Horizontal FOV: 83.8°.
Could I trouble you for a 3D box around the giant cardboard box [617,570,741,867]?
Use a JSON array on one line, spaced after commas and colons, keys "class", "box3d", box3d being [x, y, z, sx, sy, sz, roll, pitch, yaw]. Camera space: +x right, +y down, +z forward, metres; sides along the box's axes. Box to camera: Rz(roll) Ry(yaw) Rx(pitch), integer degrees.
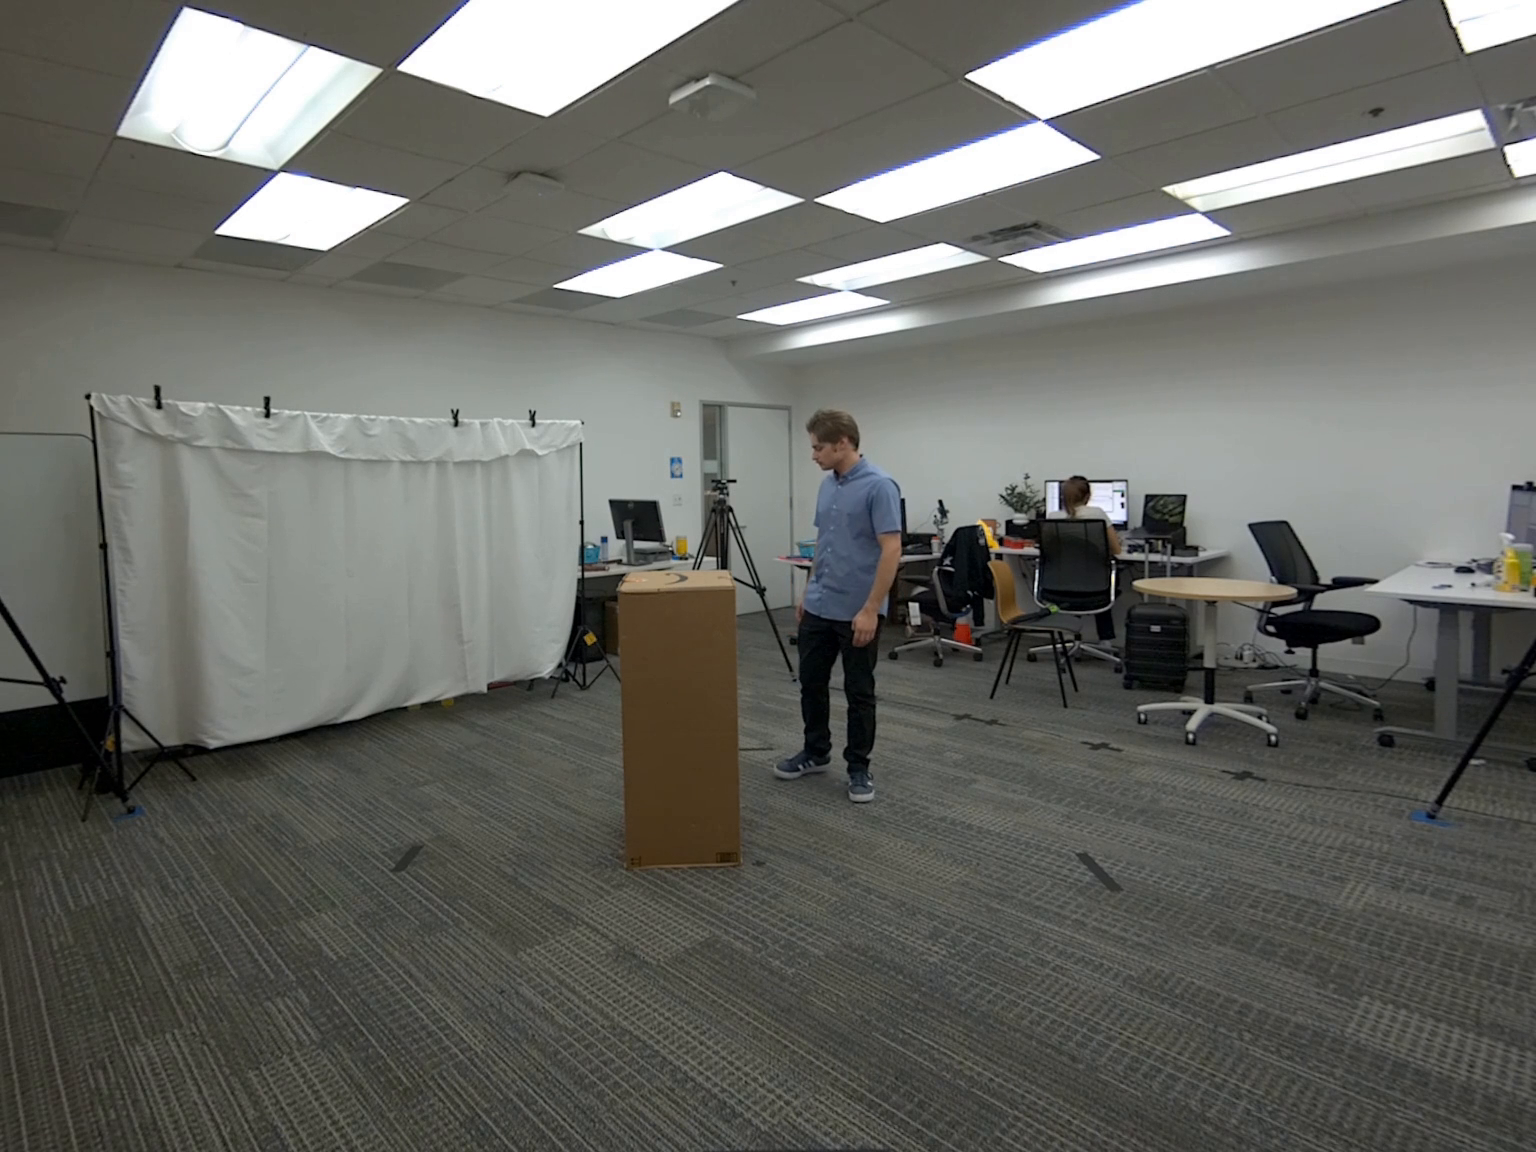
[{"class": "giant cardboard box", "box3d": [-0.343, 0.517, 3.337, 0.425, 1.022, 0.581, -1, 4, -3]}]
